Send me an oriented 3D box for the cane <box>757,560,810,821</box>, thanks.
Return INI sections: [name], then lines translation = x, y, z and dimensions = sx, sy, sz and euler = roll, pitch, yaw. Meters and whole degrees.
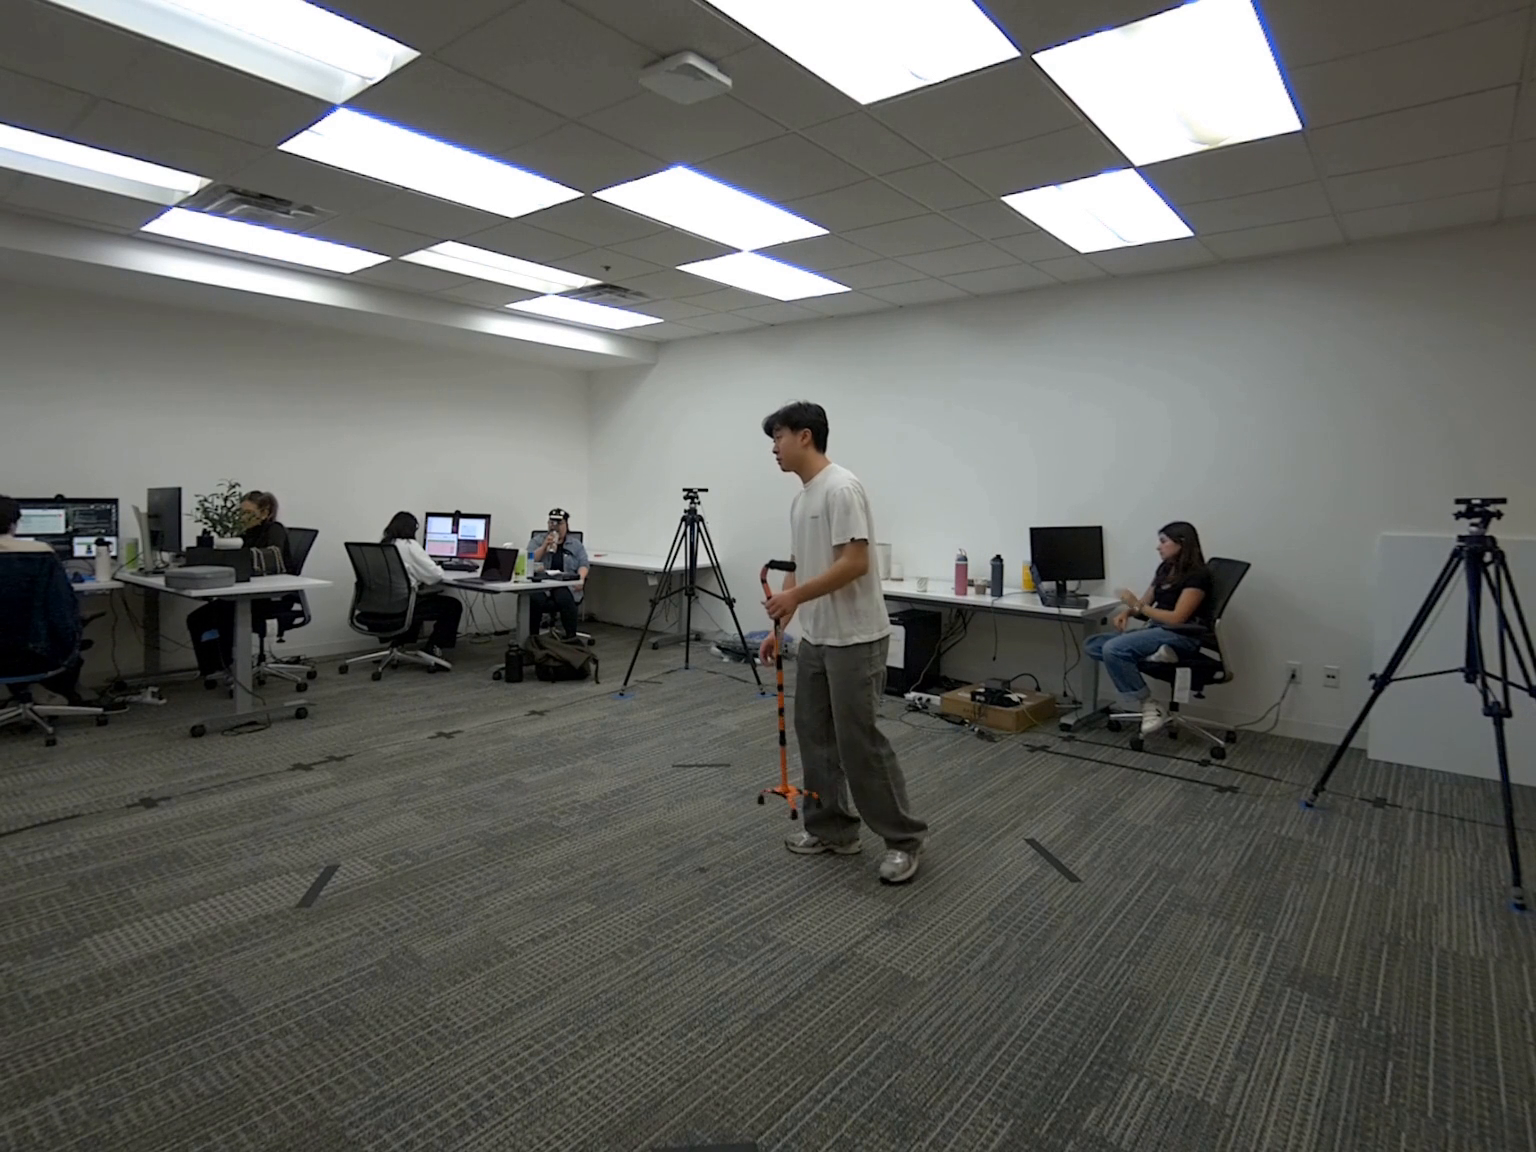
[cane]
translation = 0.053, 0.394, 3.066
dimensions = 0.213, 0.903, 0.147
euler = 1, 7, 44
